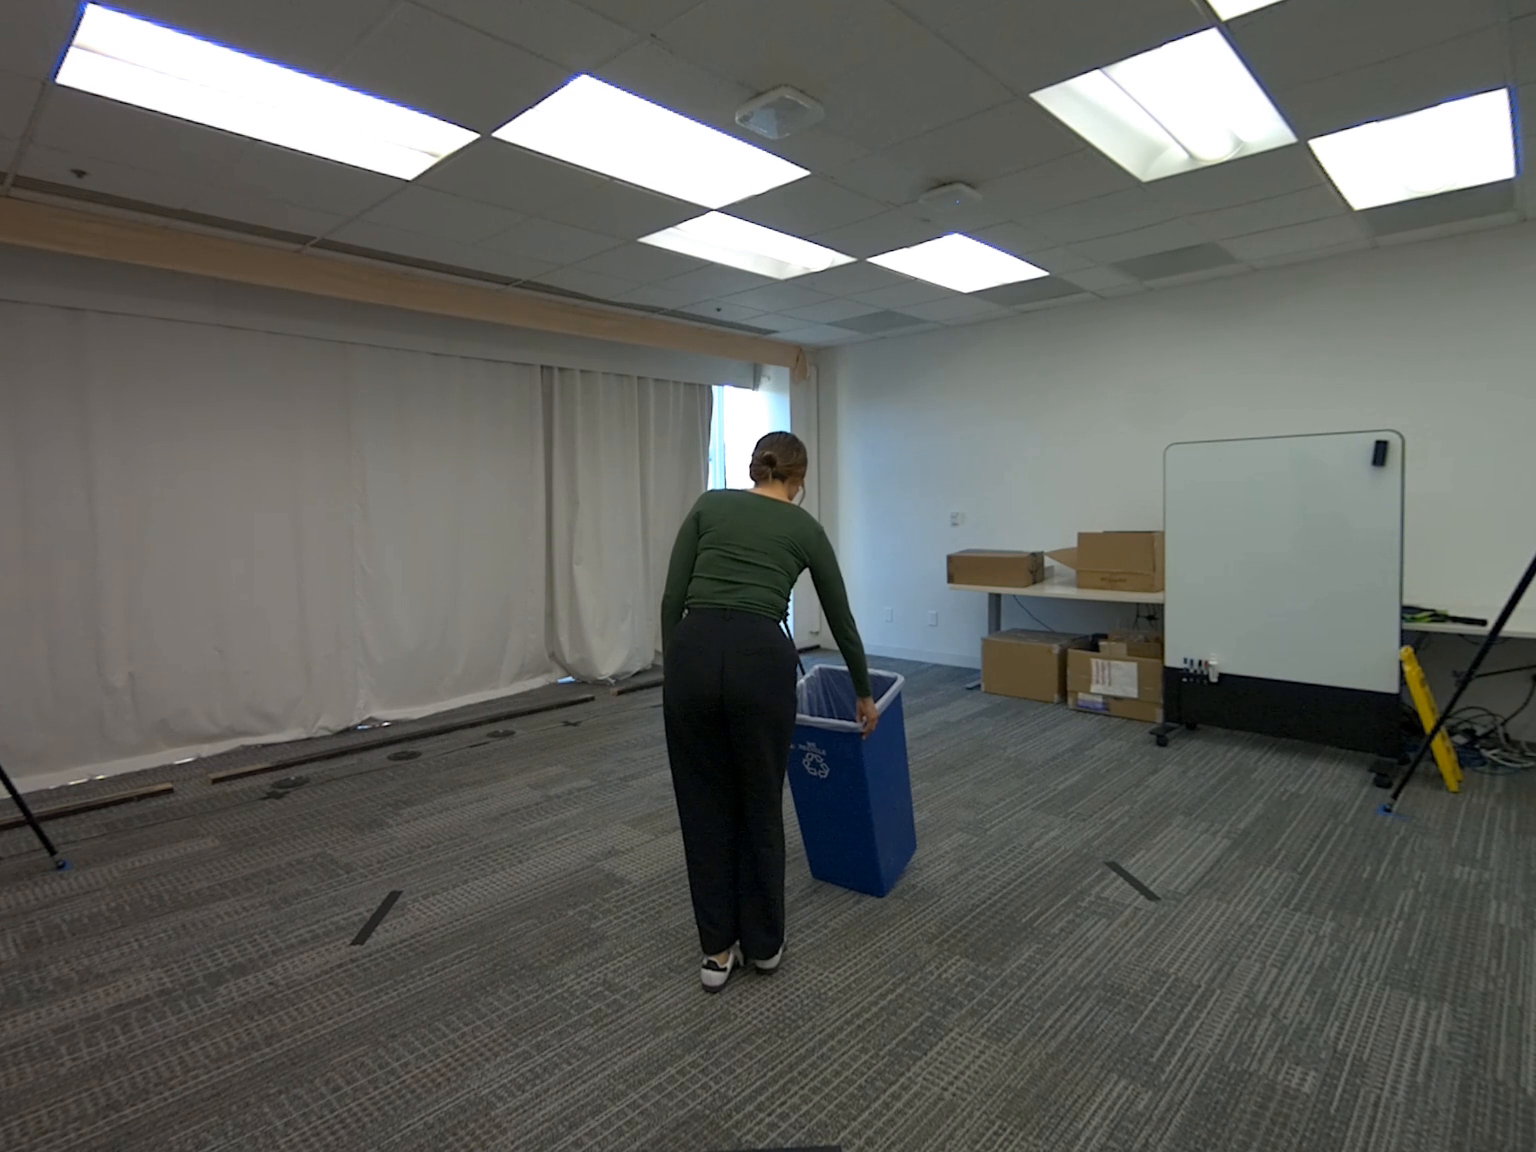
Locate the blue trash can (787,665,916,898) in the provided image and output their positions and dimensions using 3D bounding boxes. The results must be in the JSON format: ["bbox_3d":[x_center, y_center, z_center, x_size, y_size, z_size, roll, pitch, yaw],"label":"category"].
[{"bbox_3d":[0.302,0.737,3.048,0.390,0.703,0.368,2,22,35],"label":"blue trash can"}]
